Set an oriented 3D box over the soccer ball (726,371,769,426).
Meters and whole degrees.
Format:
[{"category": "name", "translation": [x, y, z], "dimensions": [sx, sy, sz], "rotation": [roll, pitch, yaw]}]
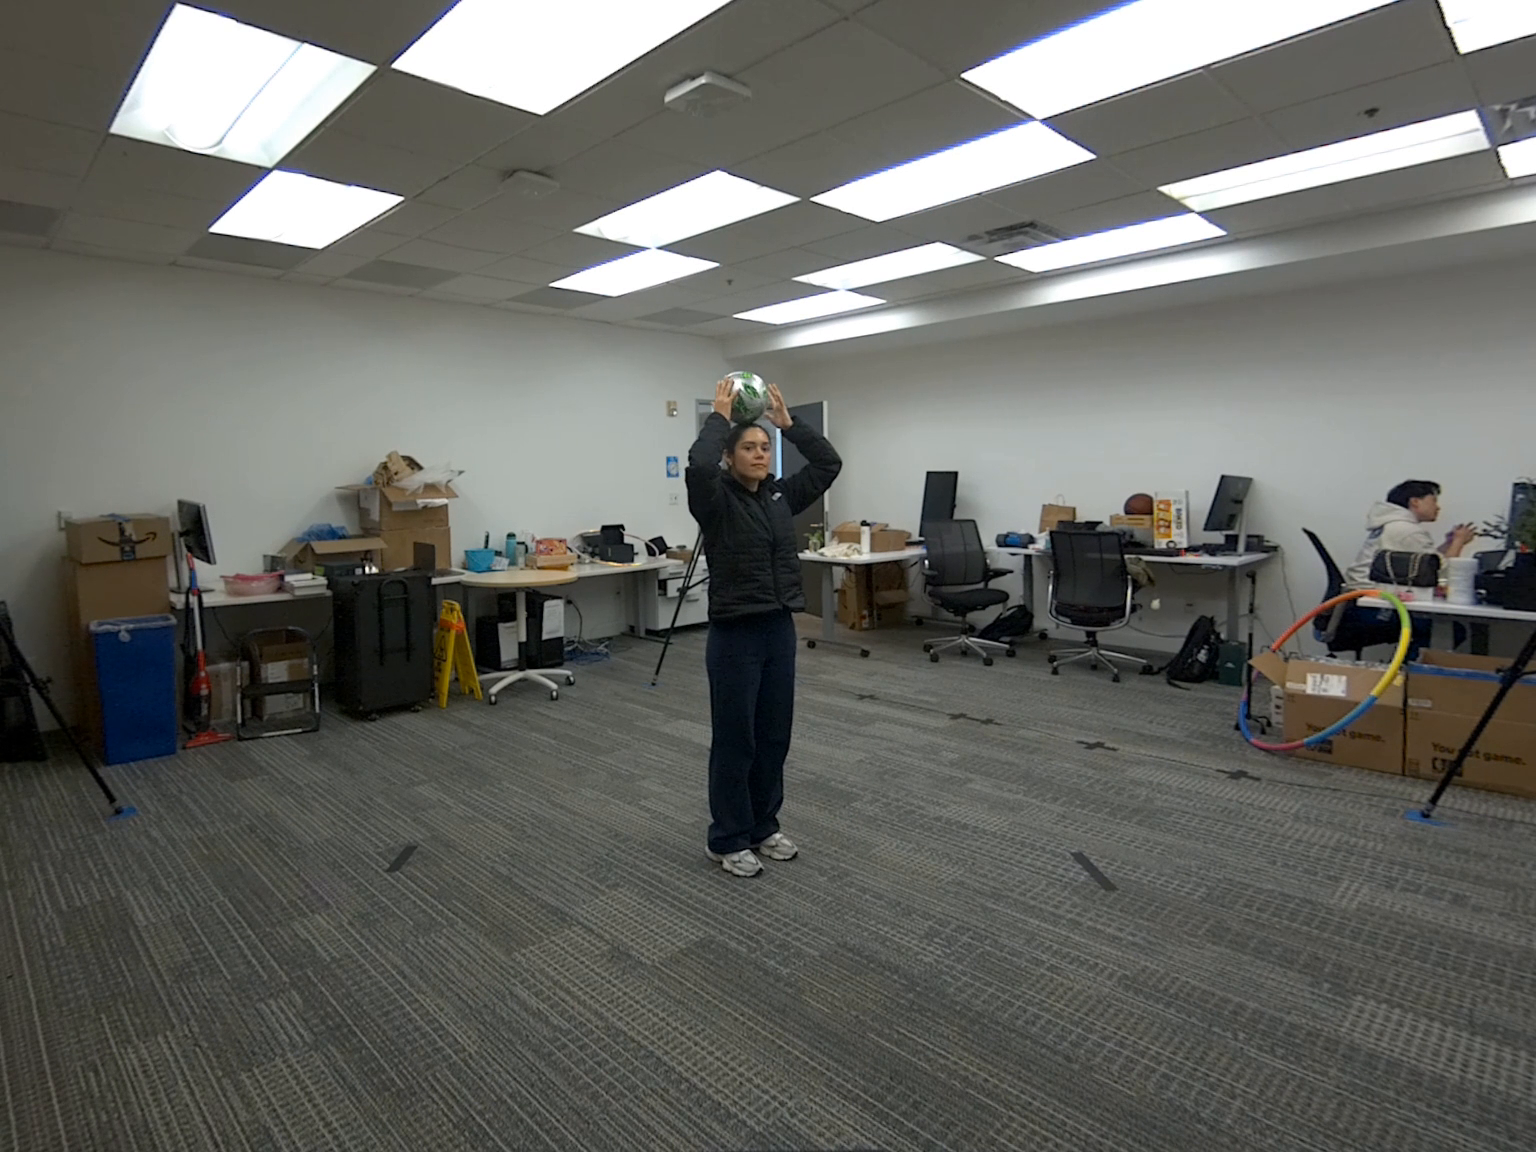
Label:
[{"category": "soccer ball", "translation": [-0.087, -0.638, 3.058], "dimensions": [0.187, 0.187, 0.188], "rotation": [-1, 5, -2]}]
